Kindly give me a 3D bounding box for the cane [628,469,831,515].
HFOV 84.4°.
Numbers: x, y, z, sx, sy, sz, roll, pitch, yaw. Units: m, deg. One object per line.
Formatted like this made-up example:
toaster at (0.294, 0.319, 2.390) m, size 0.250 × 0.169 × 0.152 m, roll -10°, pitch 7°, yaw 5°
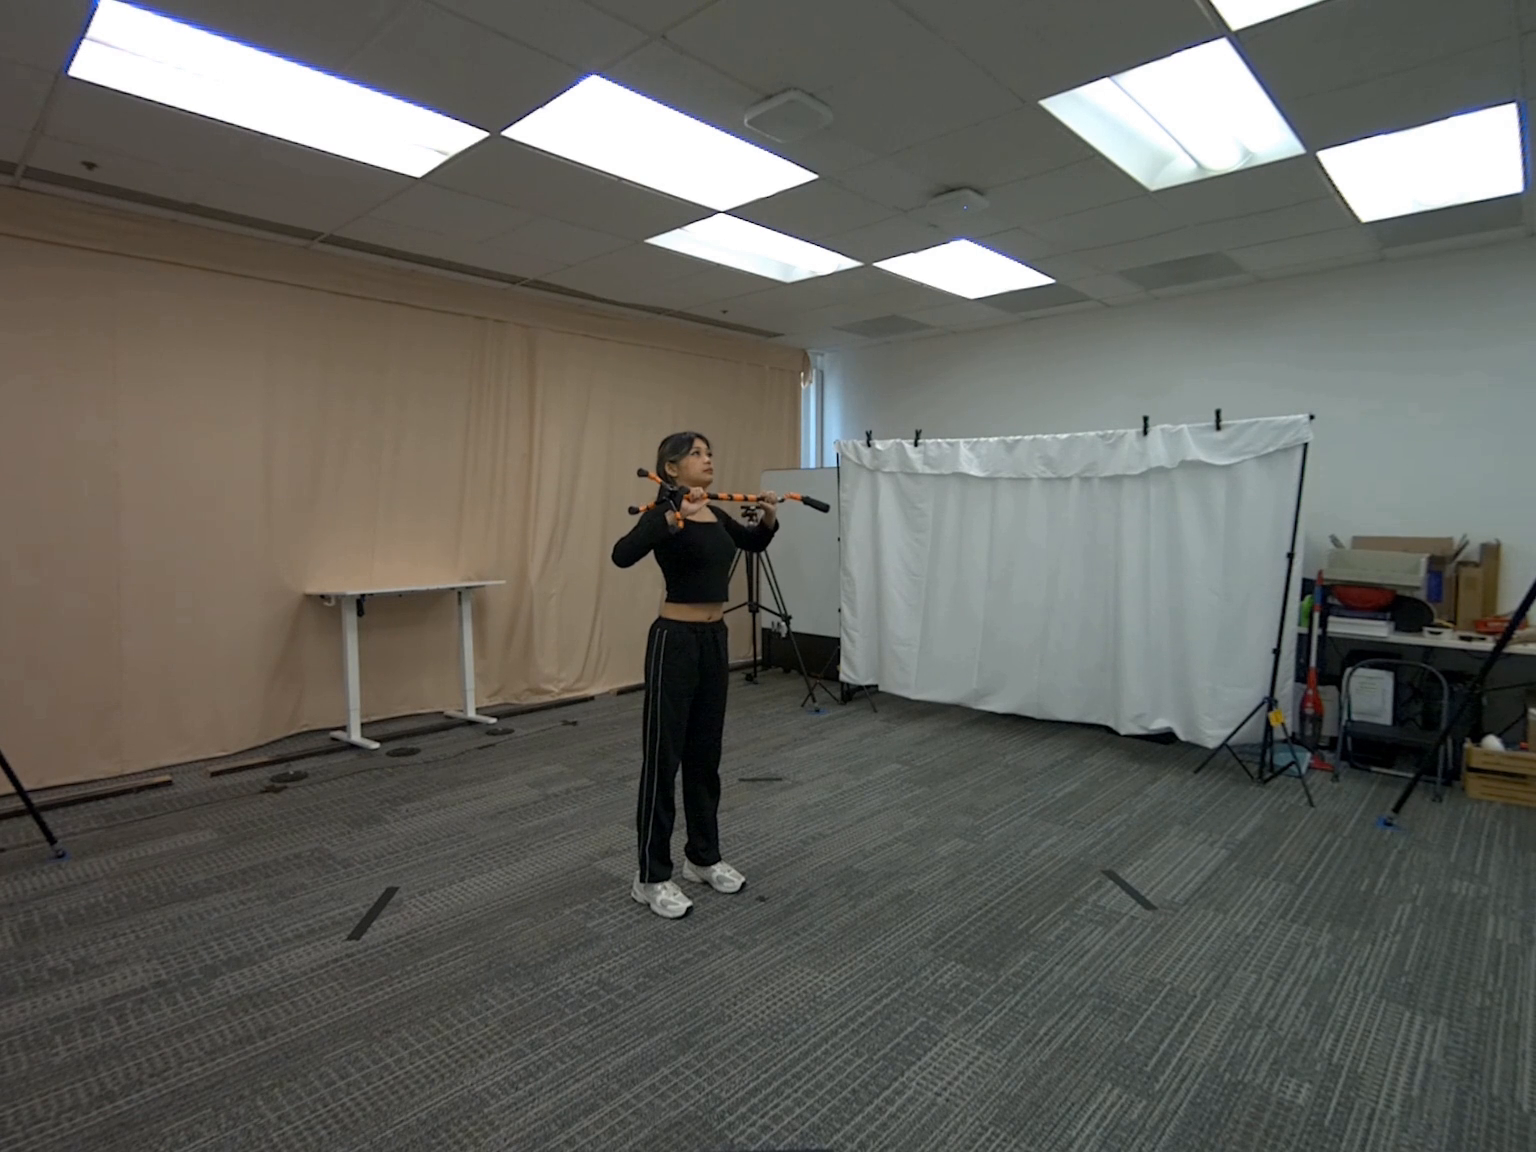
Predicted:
cane at (-0.089, -0.259, 2.941) m, size 0.213 × 0.151 × 0.881 m, roll 26°, pitch 18°, yaw 32°
